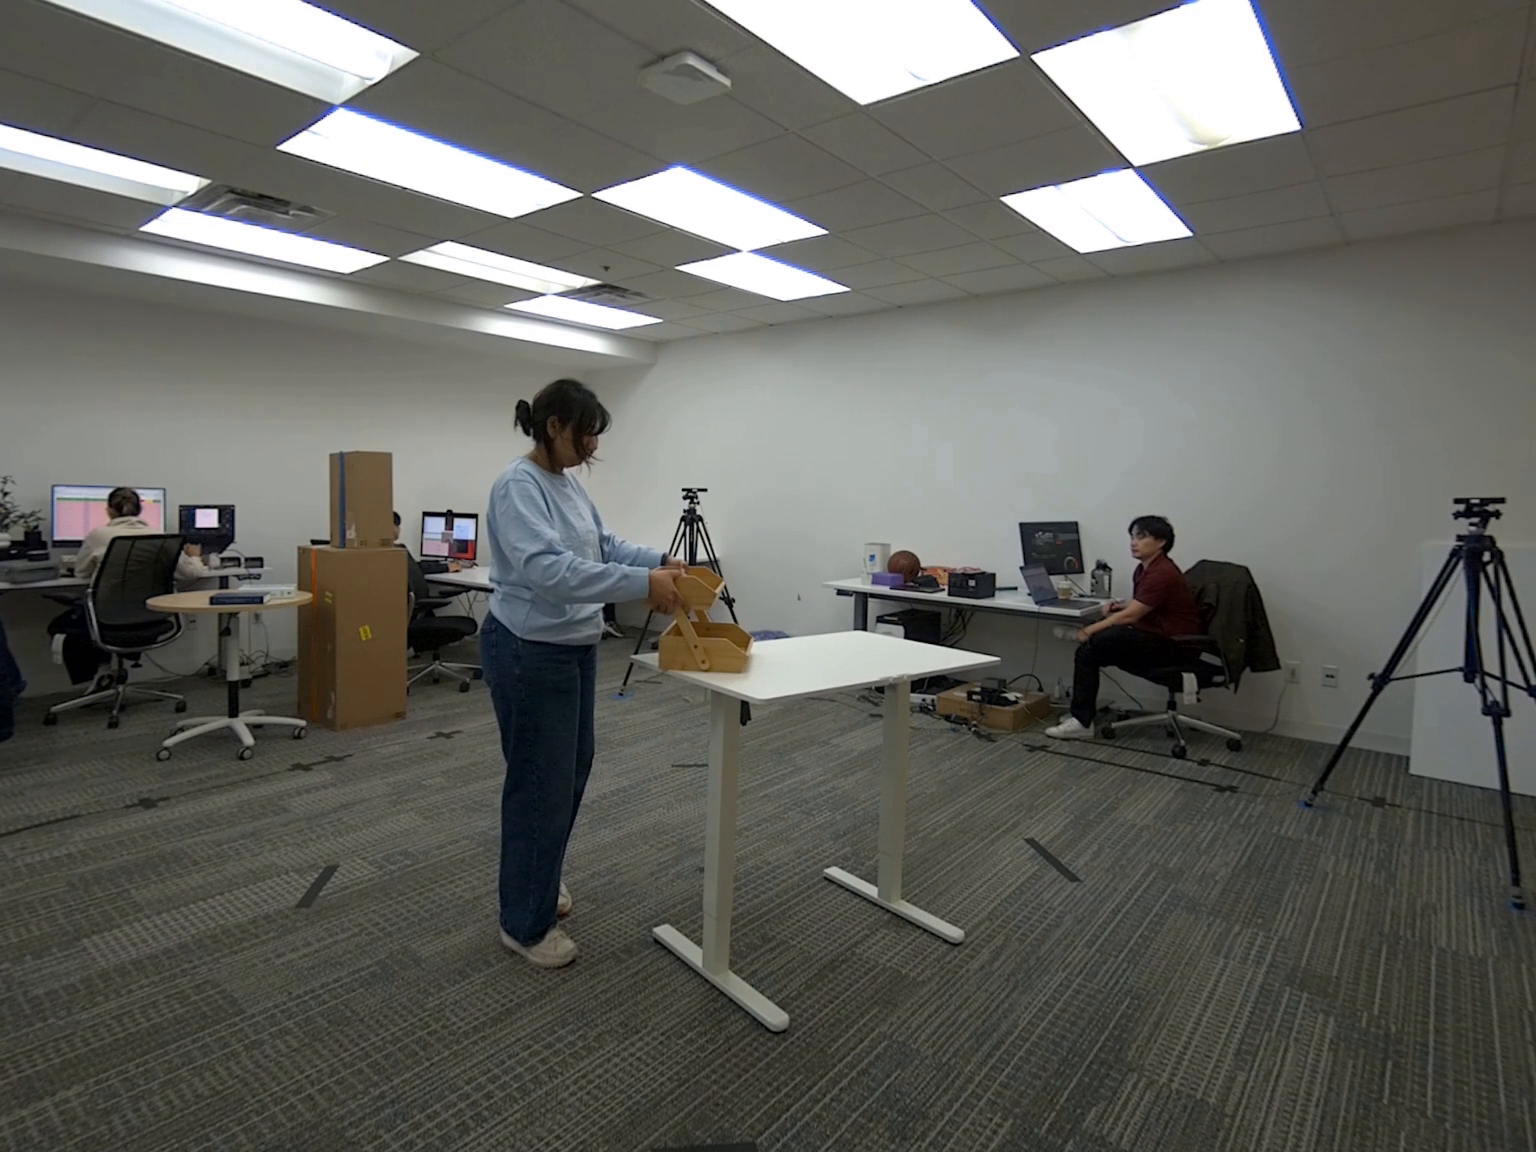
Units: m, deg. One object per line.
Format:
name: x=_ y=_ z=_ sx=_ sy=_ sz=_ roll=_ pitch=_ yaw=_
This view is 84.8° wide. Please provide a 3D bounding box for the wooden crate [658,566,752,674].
wooden crate: x=-0.203 y=0.112 z=2.480 sx=0.303 sy=0.272 sz=0.325 roll=0 pitch=5 yaw=2
